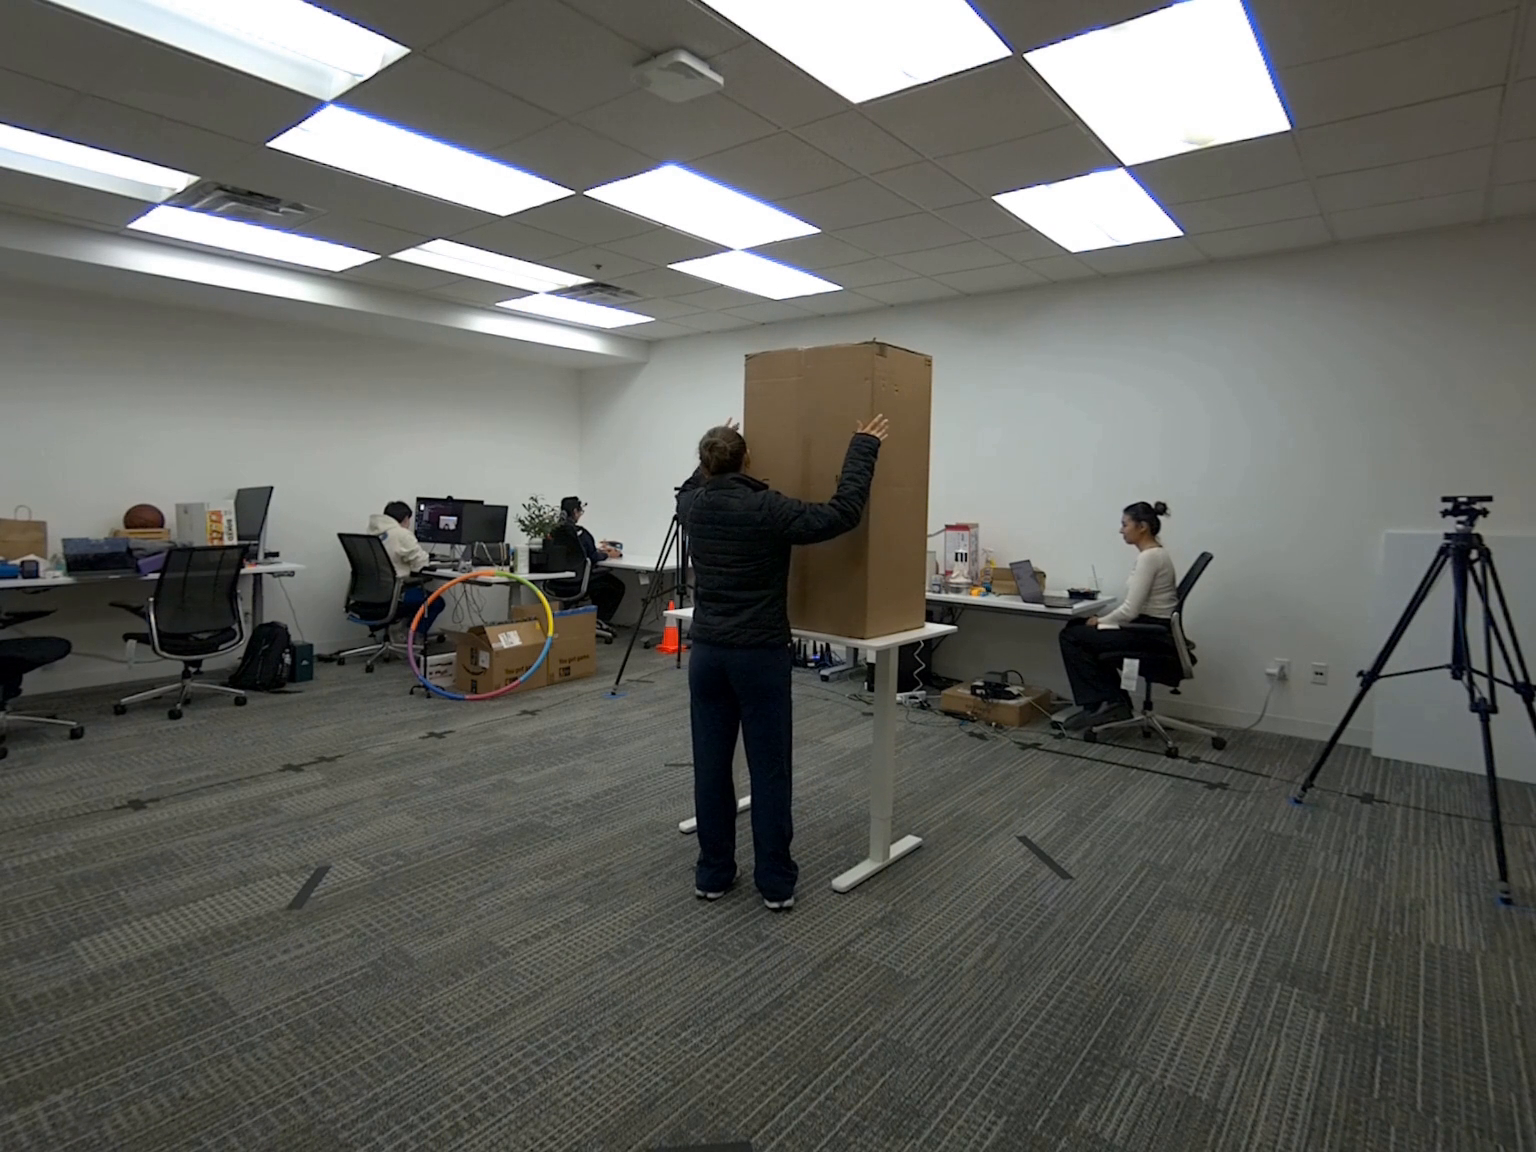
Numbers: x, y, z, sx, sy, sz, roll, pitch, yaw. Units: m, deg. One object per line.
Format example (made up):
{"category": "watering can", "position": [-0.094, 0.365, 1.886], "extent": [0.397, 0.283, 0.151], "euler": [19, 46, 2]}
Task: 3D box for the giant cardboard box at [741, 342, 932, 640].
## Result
{"category": "giant cardboard box", "position": [0.270, -0.329, 3.241], "extent": [0.604, 1.024, 0.433], "euler": [5, 4, 42]}
